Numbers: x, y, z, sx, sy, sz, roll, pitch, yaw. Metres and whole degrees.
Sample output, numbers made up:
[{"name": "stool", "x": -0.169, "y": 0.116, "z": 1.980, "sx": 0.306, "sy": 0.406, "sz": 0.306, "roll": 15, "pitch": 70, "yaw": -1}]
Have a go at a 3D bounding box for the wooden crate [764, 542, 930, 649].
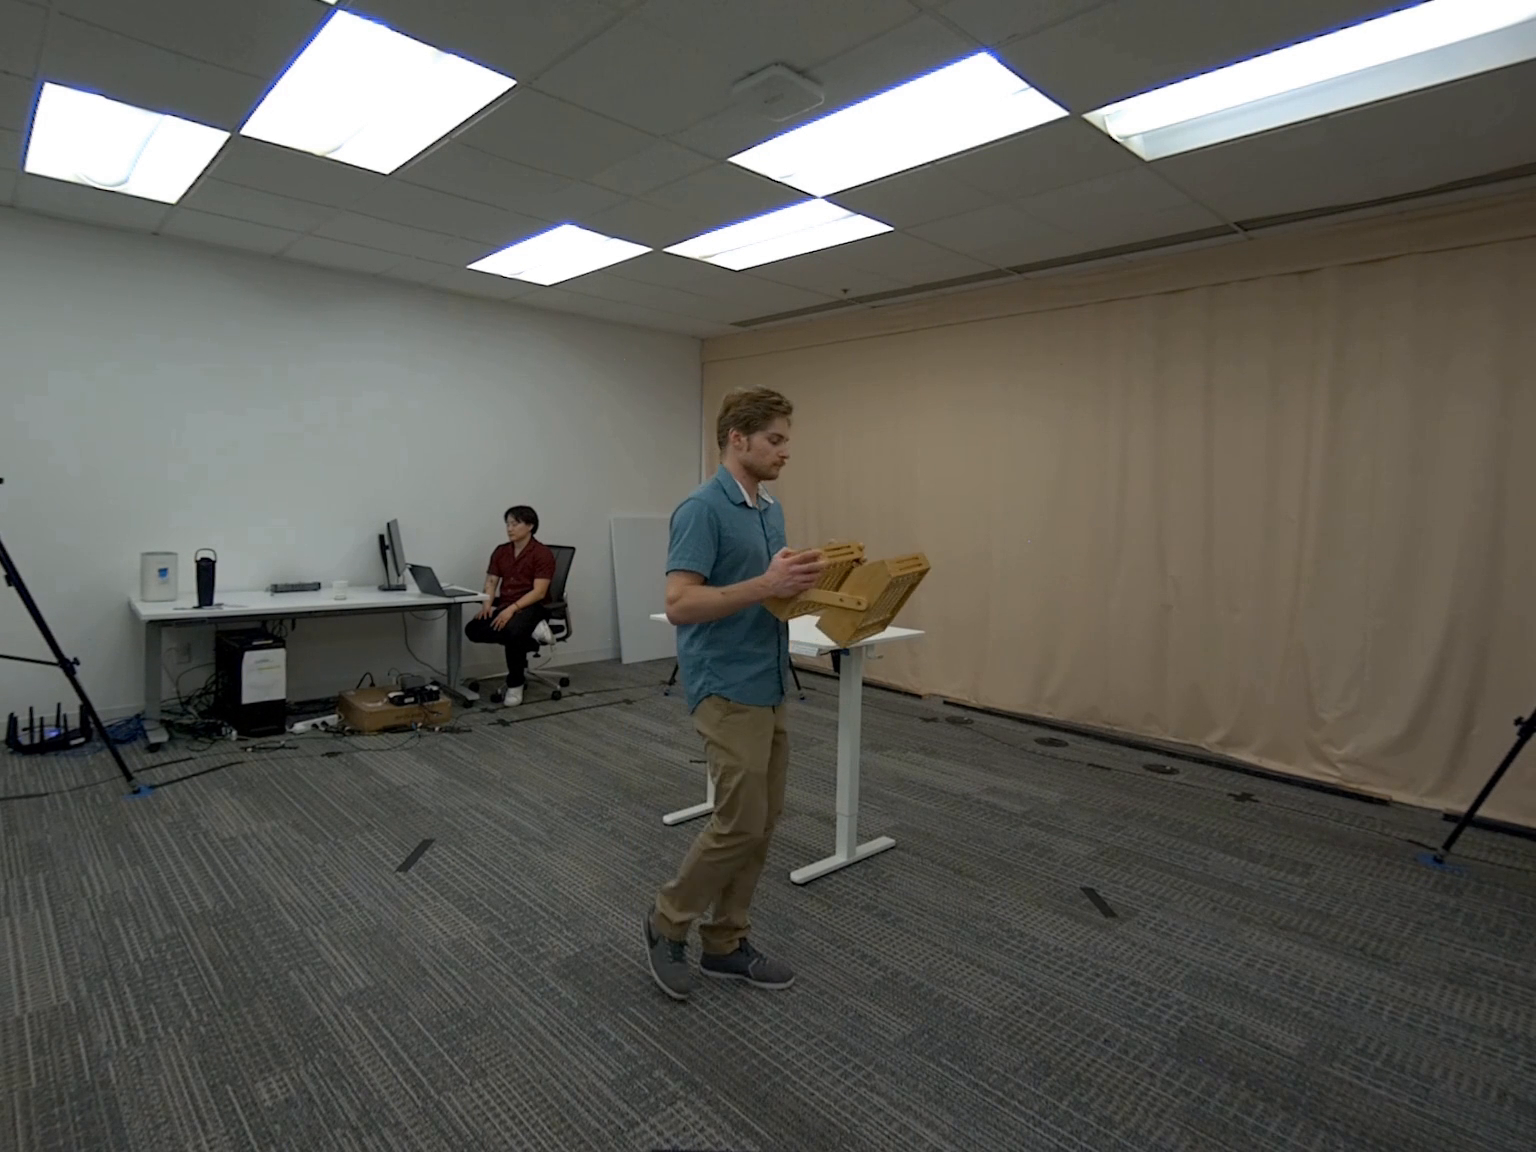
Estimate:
[{"name": "wooden crate", "x": 0.197, "y": 0.010, "z": 2.233, "sx": 0.279, "sy": 0.301, "sz": 0.318, "roll": 41, "pitch": 23, "yaw": 21}]
